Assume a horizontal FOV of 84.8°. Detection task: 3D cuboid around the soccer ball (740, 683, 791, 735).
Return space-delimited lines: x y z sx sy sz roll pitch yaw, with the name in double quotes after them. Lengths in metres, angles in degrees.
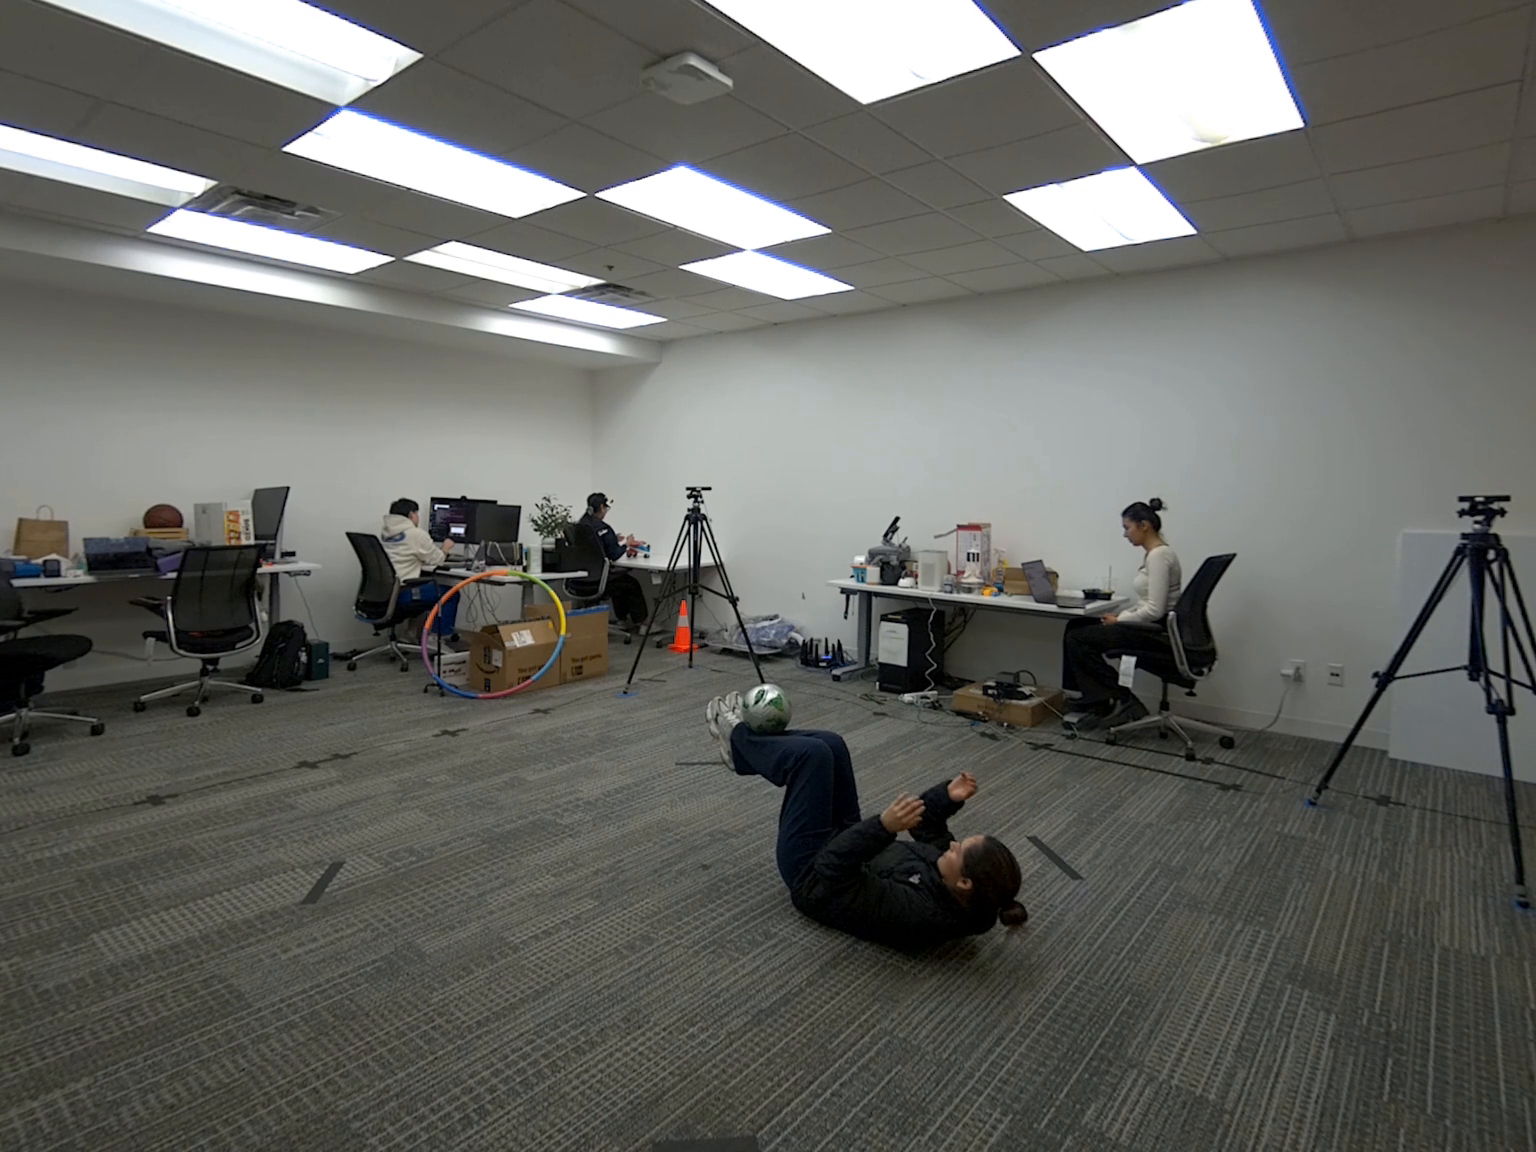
-0.018 0.487 3.117 0.187 0.187 0.188 -3 3 -2 "soccer ball"
